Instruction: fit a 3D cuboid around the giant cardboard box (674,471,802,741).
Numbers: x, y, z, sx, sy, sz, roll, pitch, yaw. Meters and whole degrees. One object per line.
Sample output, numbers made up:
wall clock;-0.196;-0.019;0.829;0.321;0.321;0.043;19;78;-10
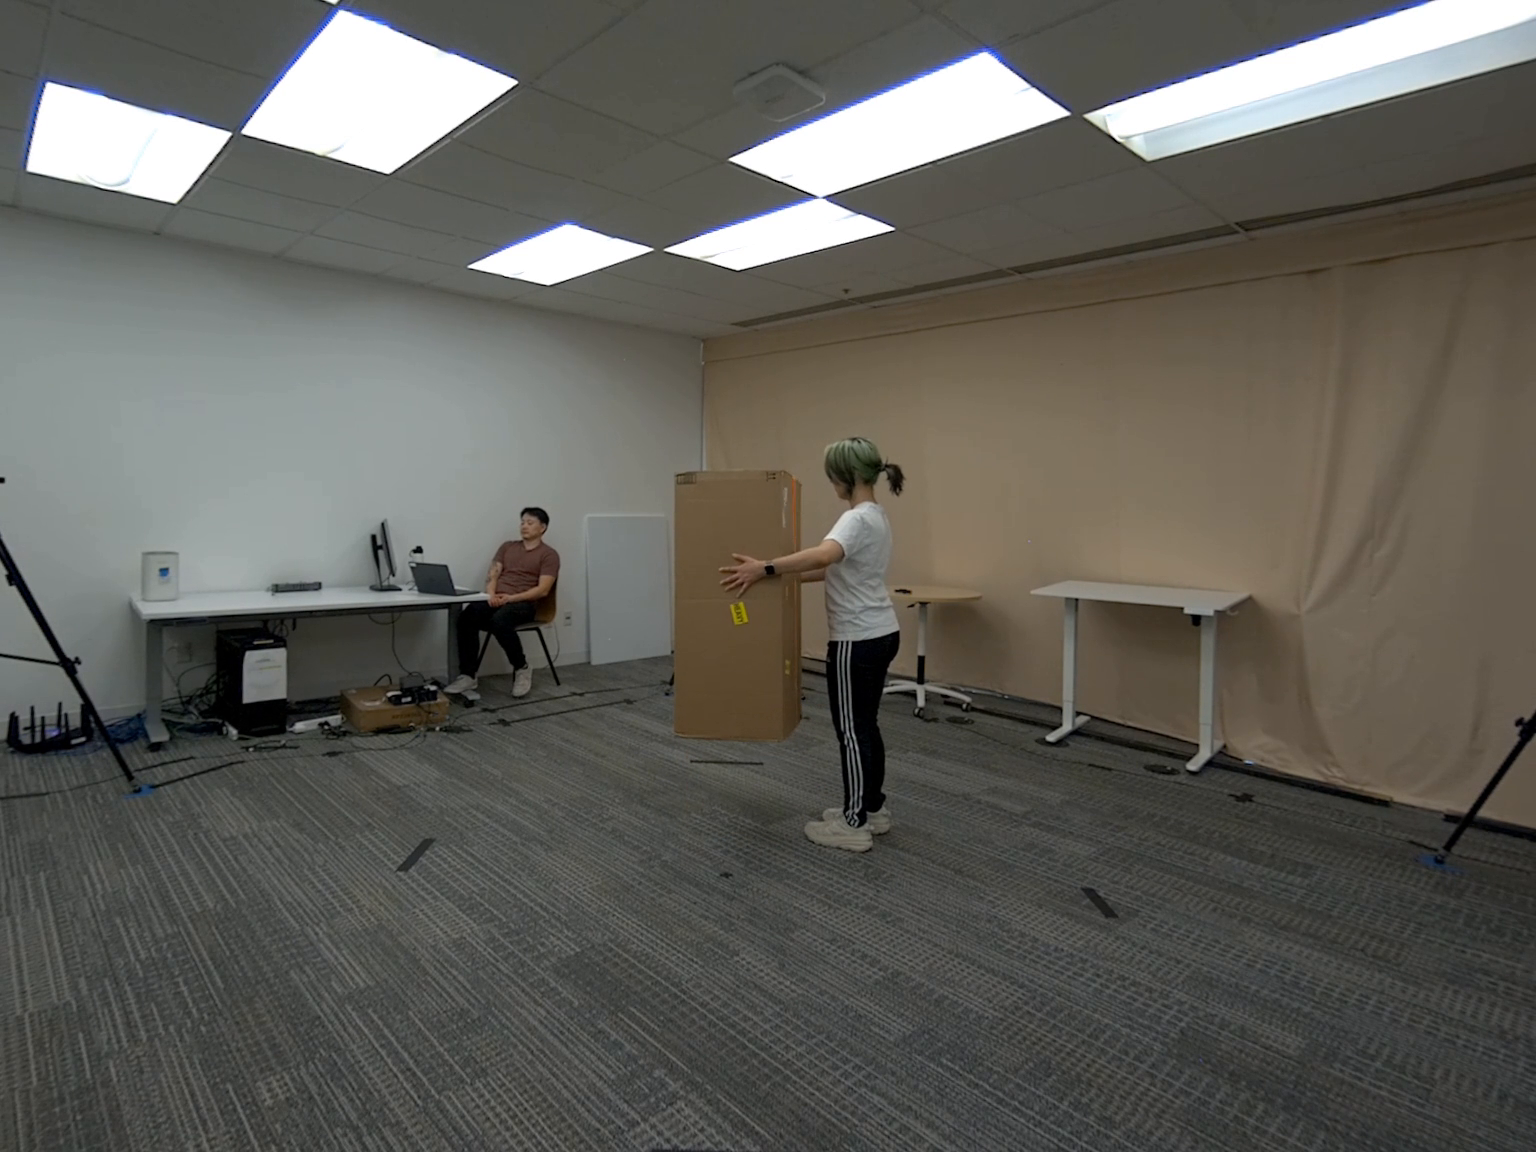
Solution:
giant cardboard box;-0.108;0.104;3.469;0.430;1.027;0.571;0;-1;11
